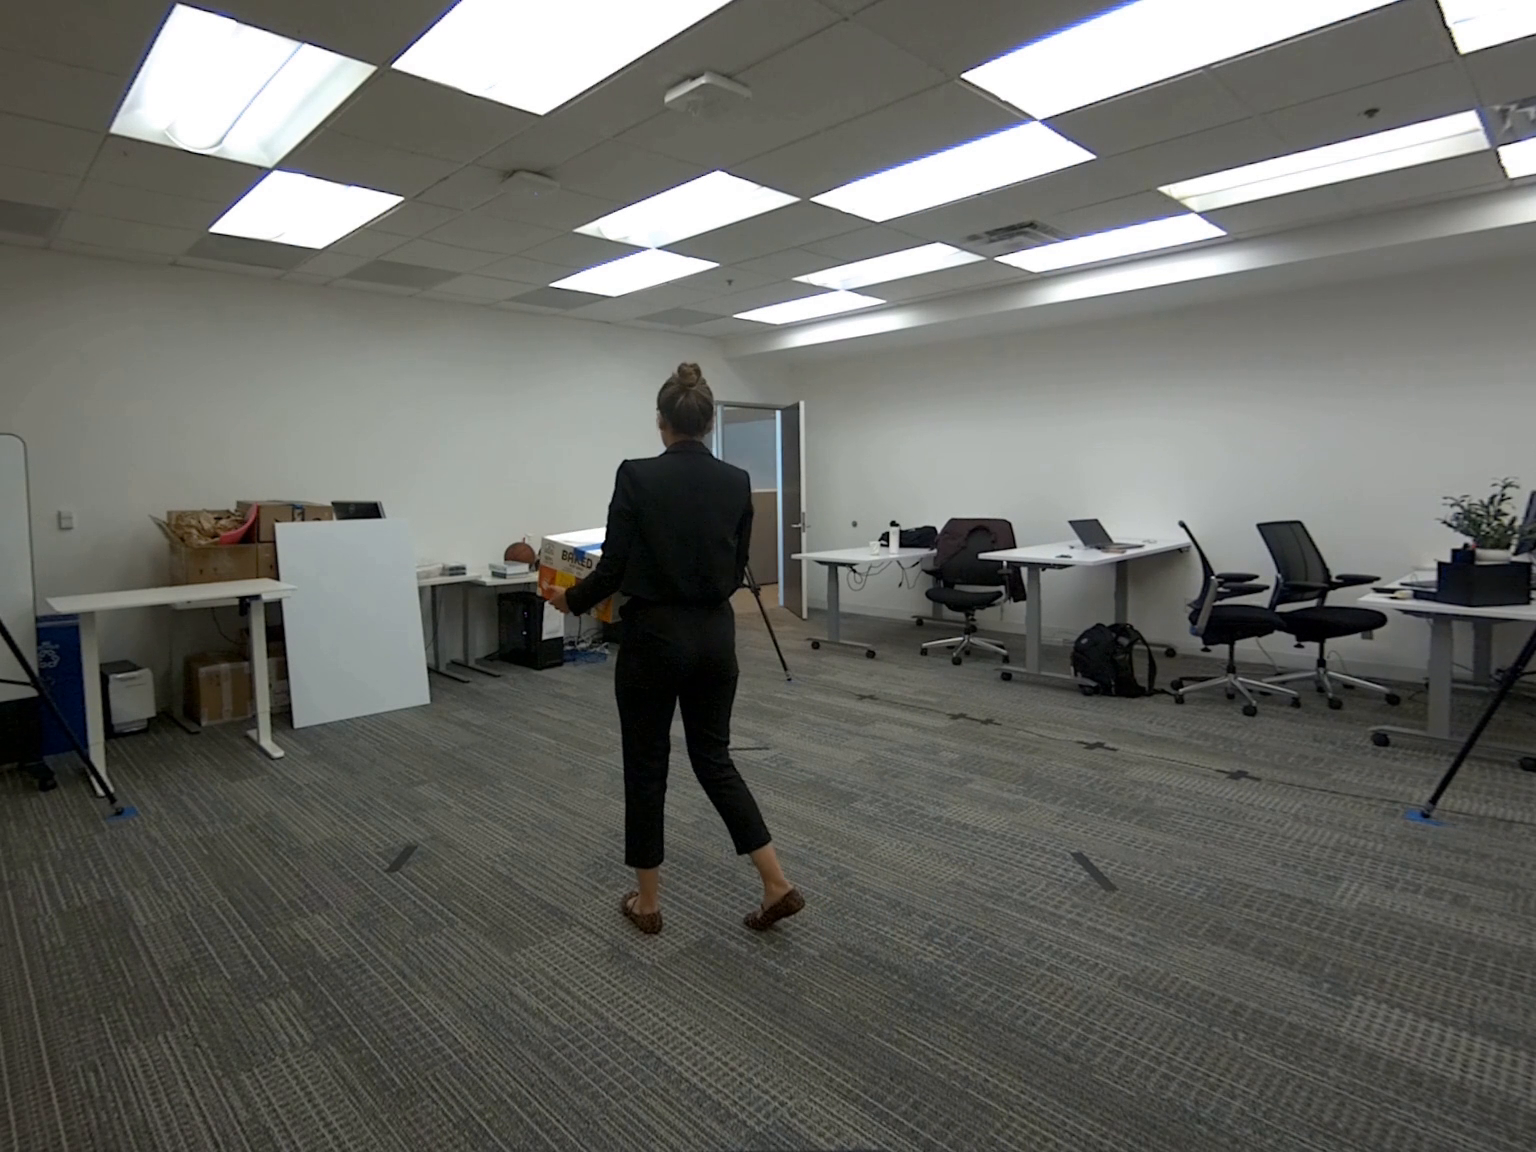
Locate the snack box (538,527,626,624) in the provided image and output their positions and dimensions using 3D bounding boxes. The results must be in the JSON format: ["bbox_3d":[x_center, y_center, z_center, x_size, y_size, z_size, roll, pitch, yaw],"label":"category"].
[{"bbox_3d":[-0.501,-0.020,2.919,0.351,0.203,0.397,17,17,30],"label":"snack box"}]
